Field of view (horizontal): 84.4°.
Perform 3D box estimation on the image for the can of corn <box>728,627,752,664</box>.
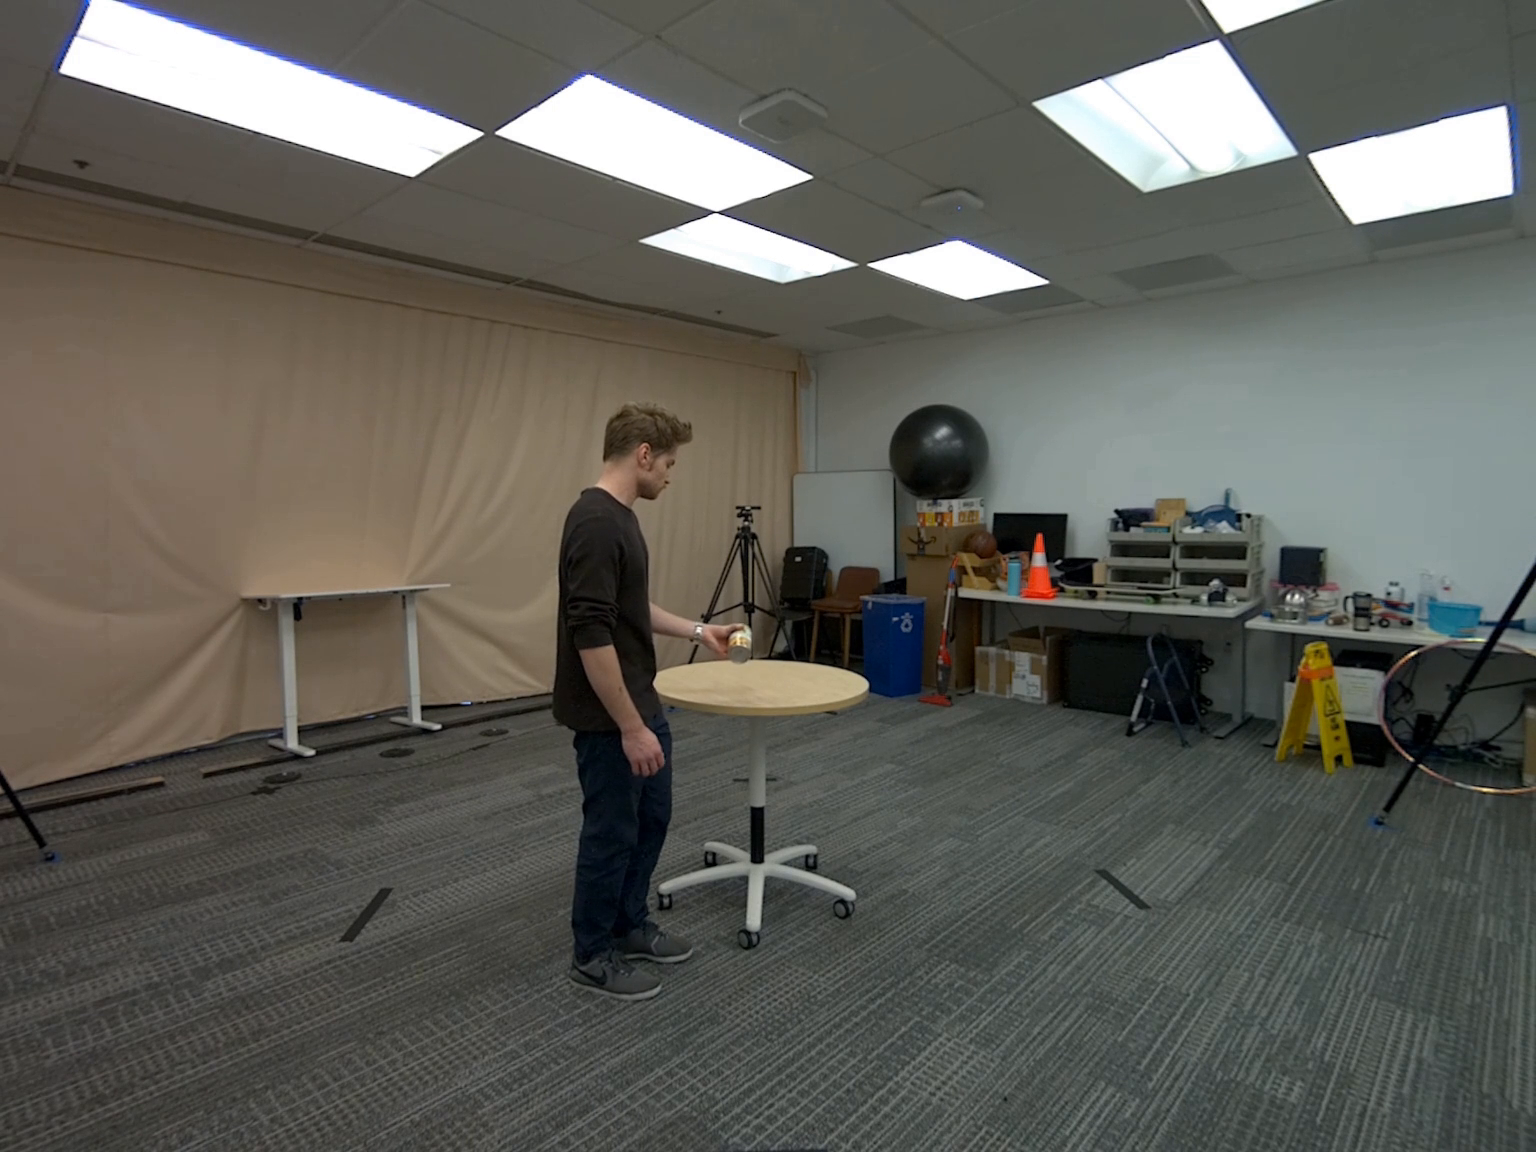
[{"bbox_3d":[-0.081,0.207,2.647,0.074,0.073,0.112,0,26,0],"label":"can of corn"}]
